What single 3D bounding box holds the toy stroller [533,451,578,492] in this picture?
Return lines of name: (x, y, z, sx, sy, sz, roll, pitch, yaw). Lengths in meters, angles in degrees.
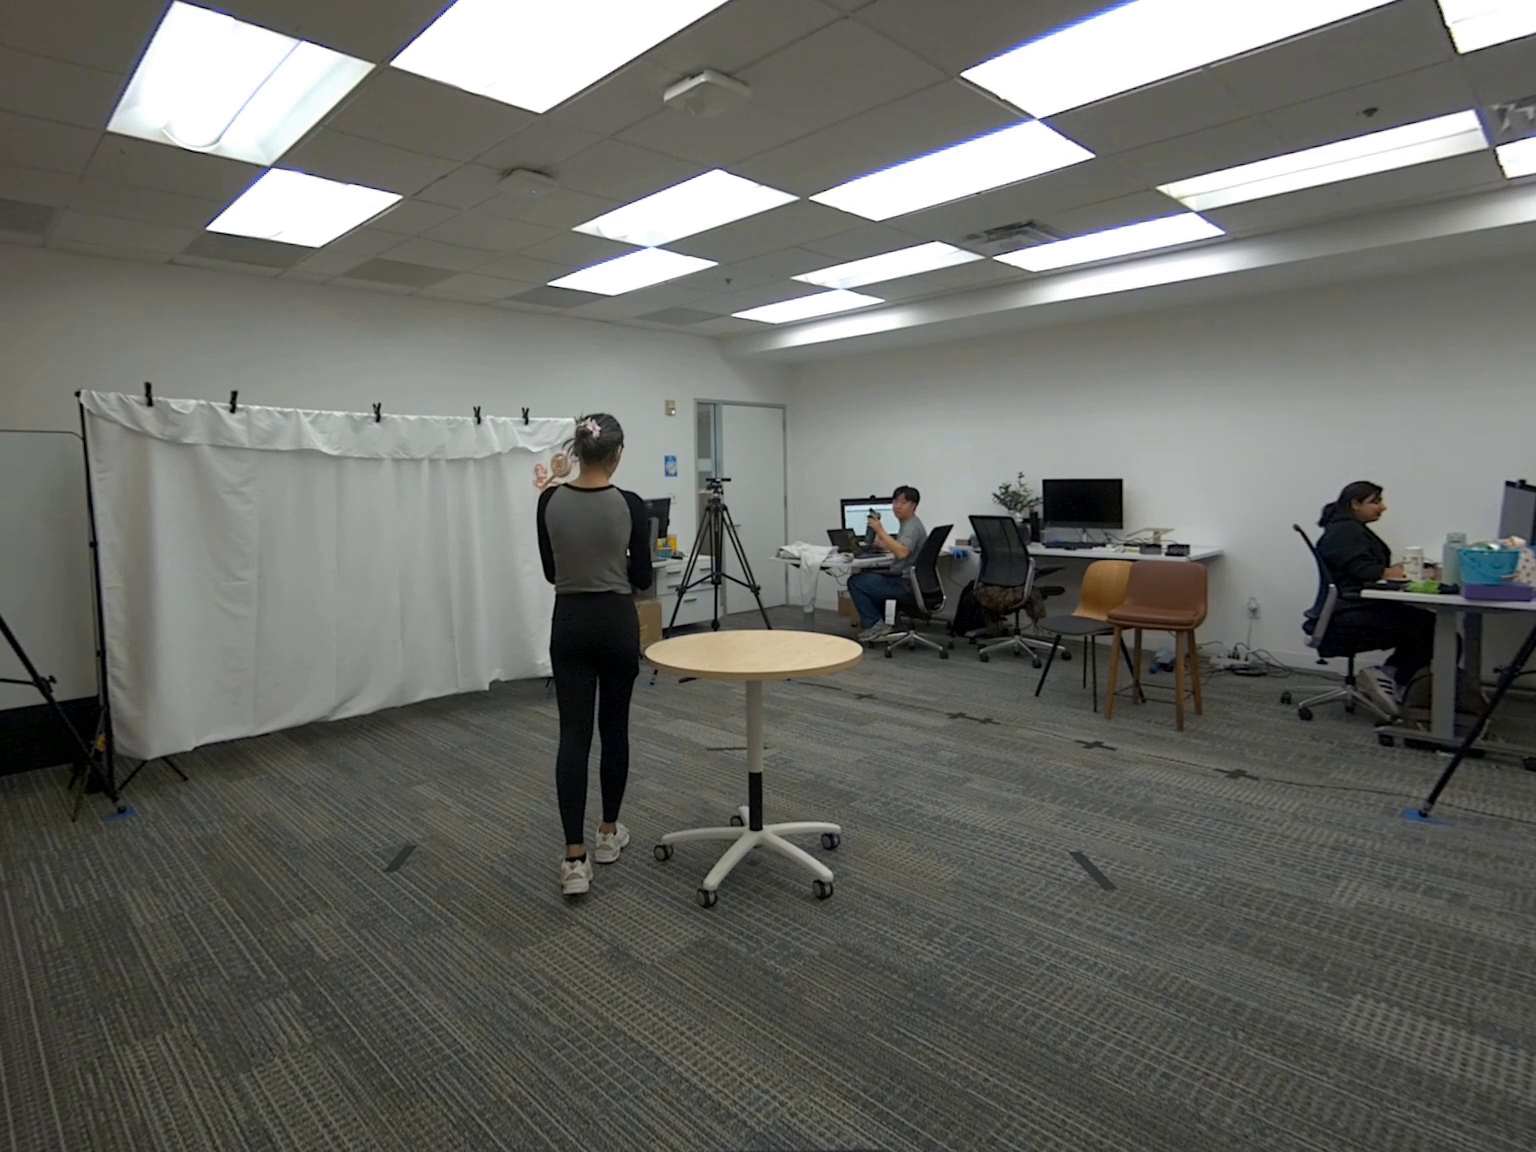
toy stroller: (-0.804, -0.274, 3.570, 0.346, 0.541, 0.274, -23, -11, 27)
